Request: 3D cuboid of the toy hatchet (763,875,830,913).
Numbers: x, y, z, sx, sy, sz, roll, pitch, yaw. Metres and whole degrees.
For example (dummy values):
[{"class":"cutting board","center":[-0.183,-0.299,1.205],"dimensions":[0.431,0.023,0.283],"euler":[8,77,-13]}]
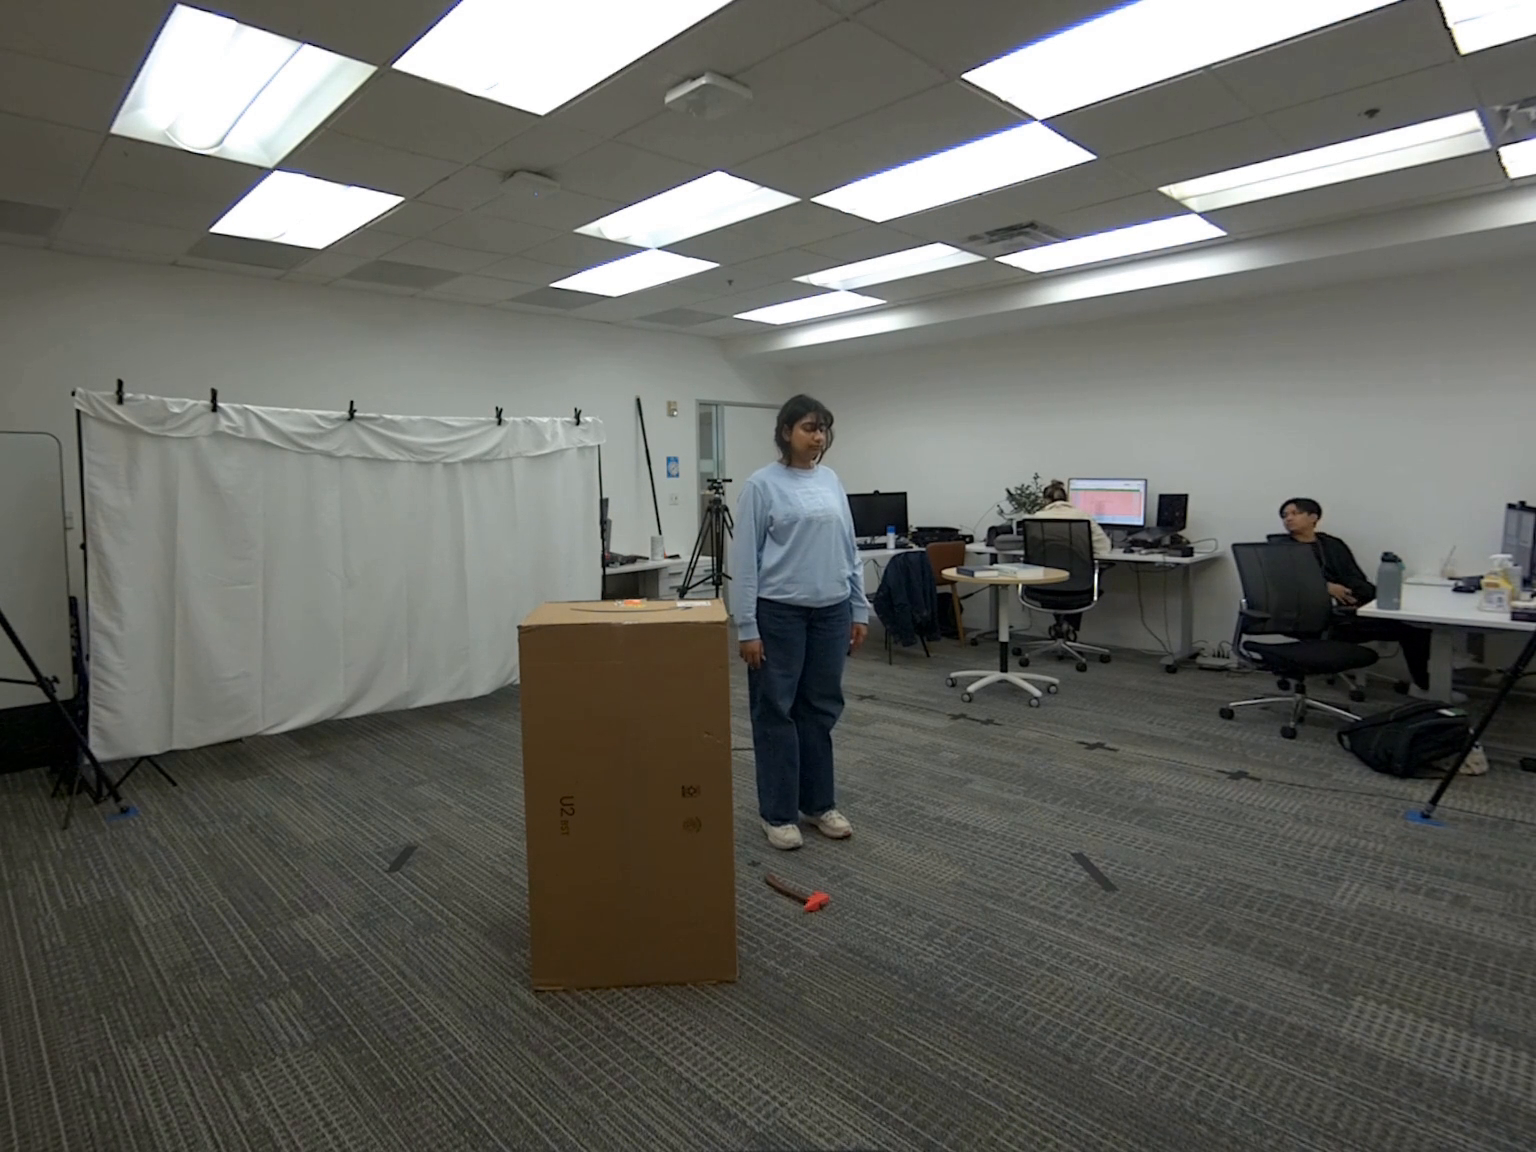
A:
[{"class":"toy hatchet","center":[0.105,1.059,2.876],"dimensions":[0.128,0.029,0.277],"euler":[-3,5,-29]}]
